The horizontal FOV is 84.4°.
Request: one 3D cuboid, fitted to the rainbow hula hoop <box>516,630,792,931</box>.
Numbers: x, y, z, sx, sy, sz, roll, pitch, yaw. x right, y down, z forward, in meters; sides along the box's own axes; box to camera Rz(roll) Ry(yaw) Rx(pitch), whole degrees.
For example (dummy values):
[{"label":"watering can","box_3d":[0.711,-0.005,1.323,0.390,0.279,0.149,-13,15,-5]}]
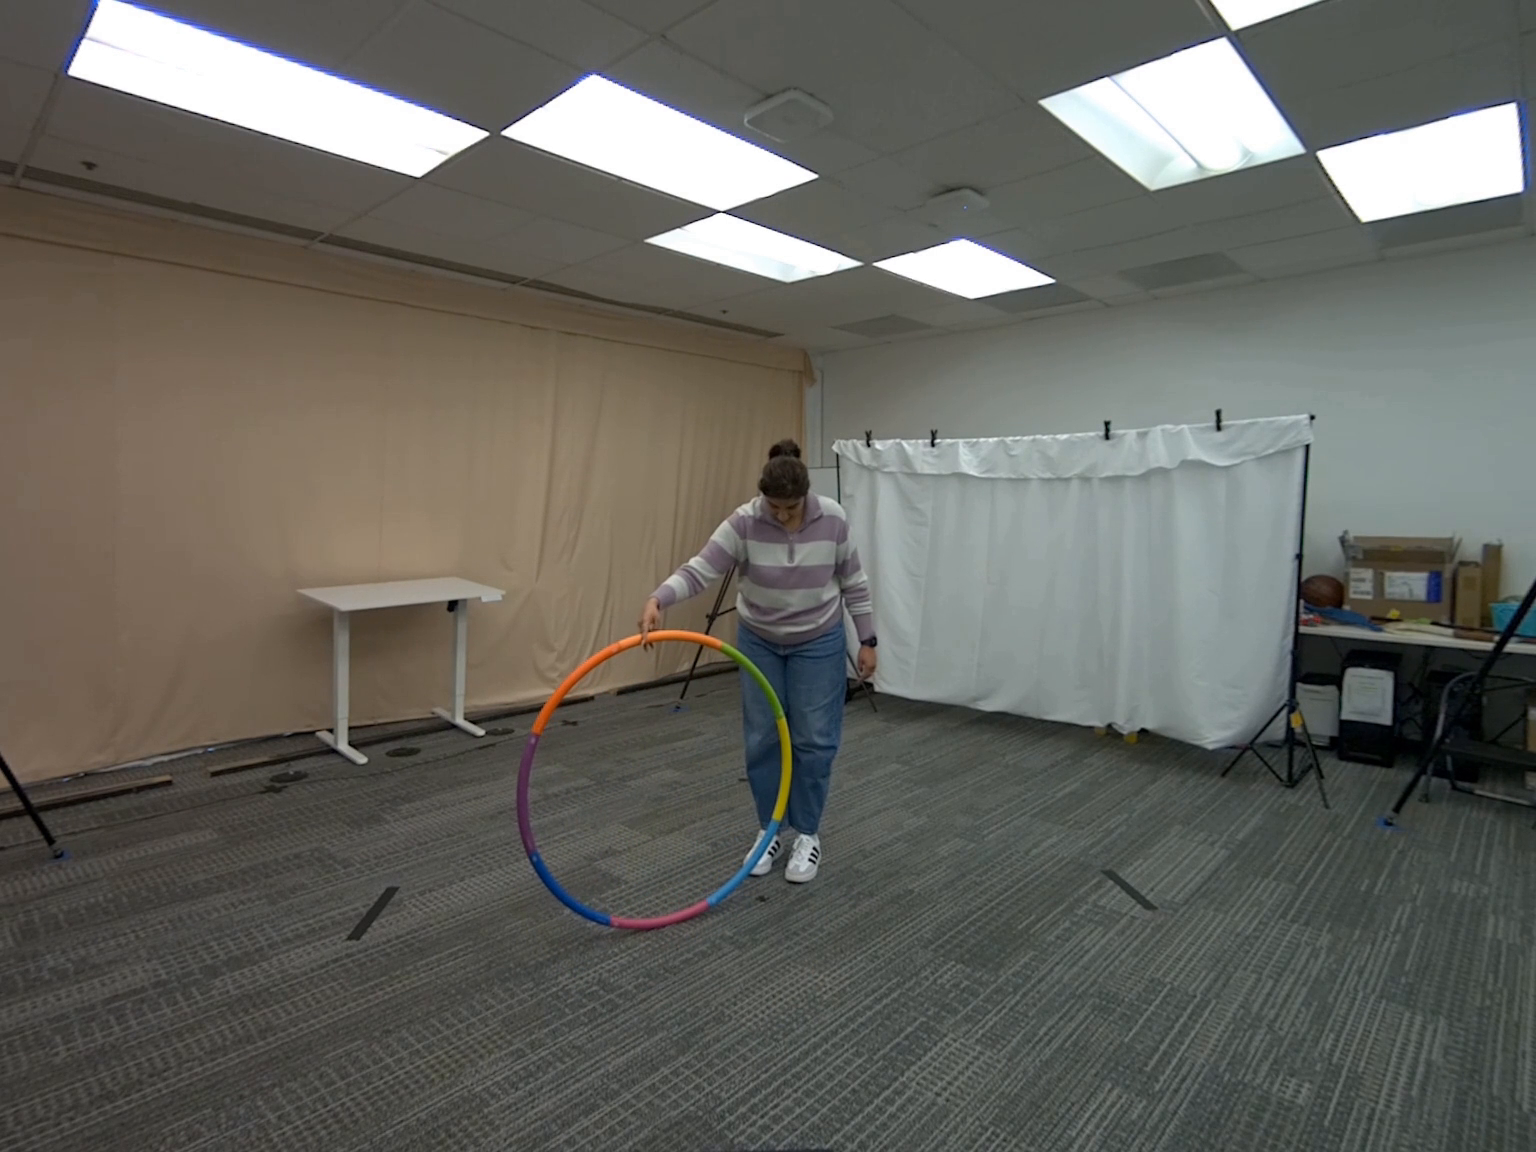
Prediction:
[{"label":"rainbow hula hoop","box_3d":[-0.339,0.673,2.780,0.953,0.977,0.036,-2,3,-29]}]
